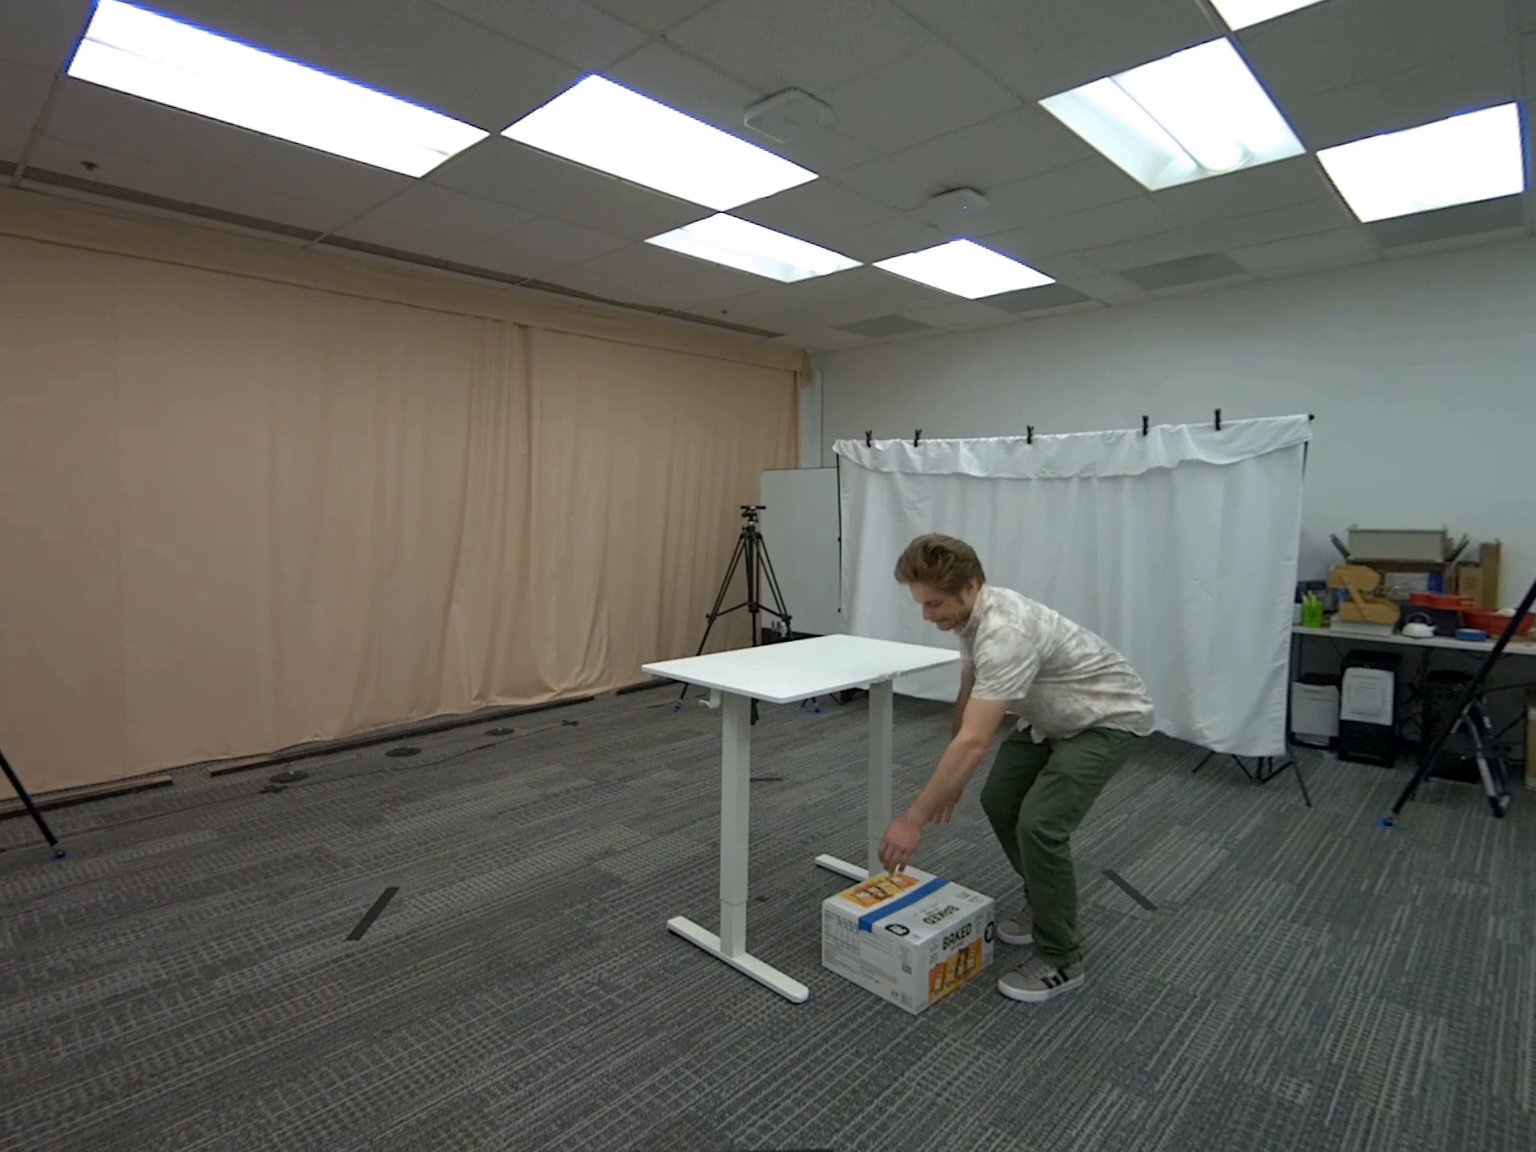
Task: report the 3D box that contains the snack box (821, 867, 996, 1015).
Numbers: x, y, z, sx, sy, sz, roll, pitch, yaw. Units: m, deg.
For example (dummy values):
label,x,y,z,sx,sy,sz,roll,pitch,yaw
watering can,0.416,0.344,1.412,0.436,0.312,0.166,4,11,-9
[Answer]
label,x,y,z,sx,sy,sz,roll,pitch,yaw
snack box,0.430,1.080,2.538,0.393,0.205,0.352,-4,6,-43
